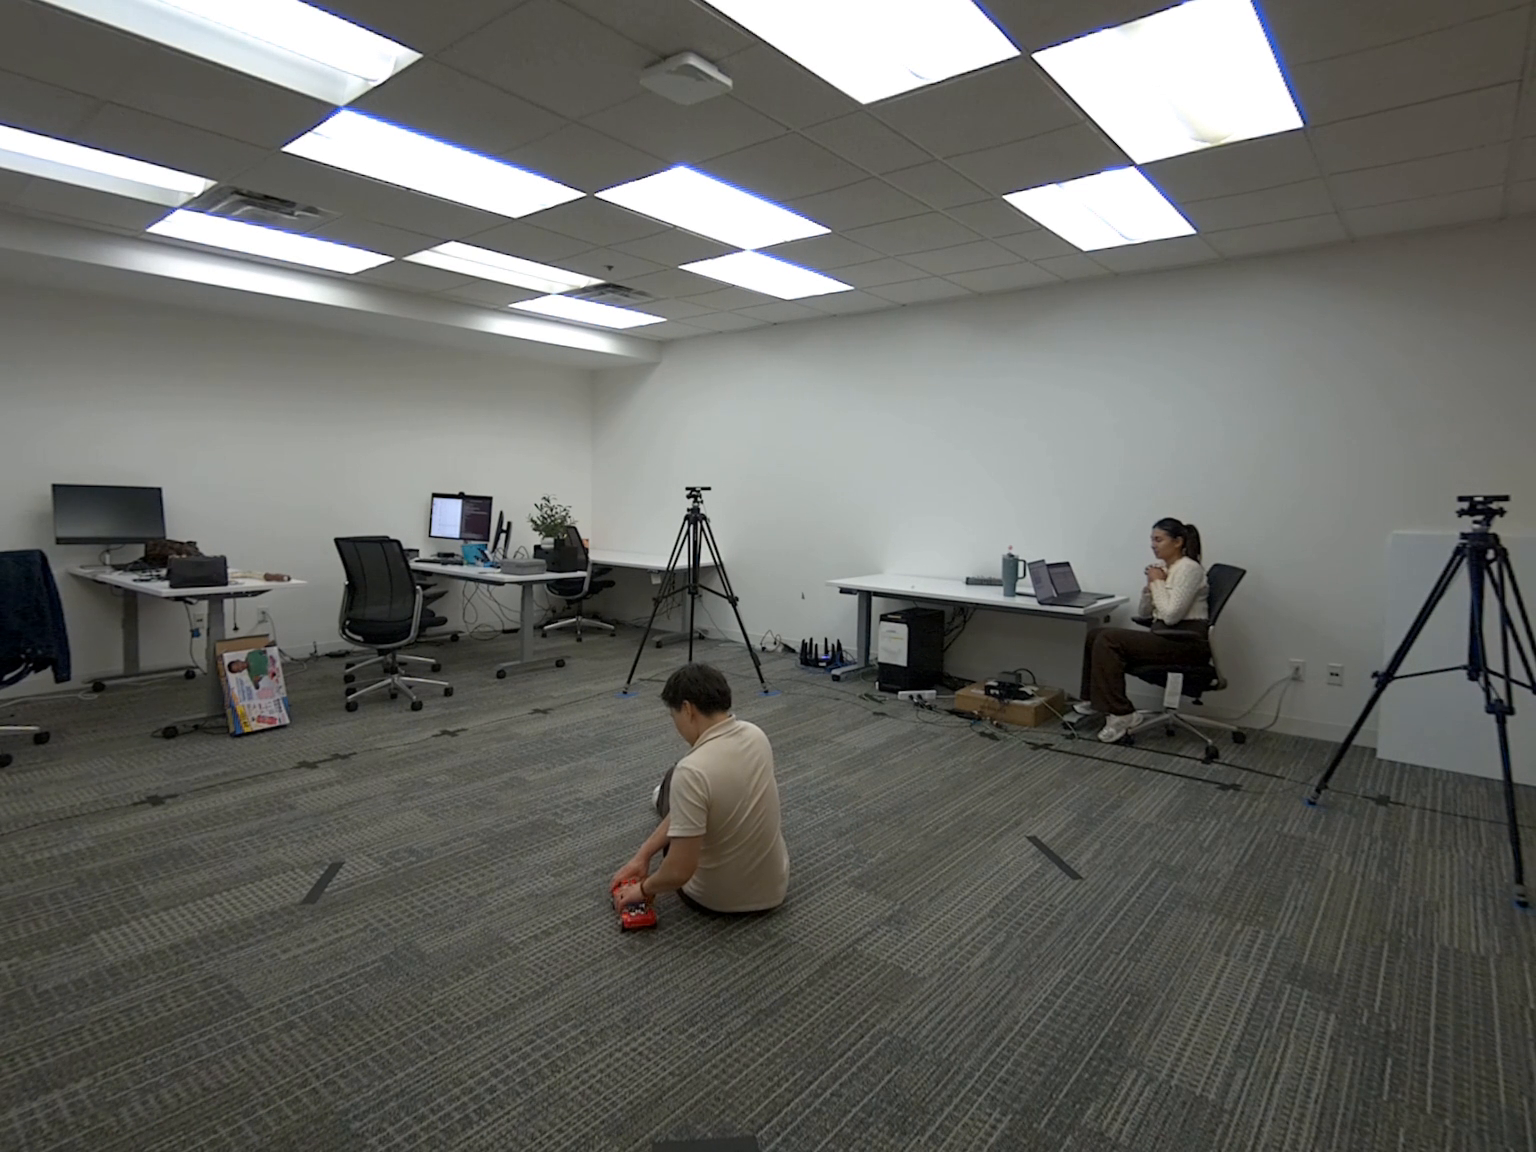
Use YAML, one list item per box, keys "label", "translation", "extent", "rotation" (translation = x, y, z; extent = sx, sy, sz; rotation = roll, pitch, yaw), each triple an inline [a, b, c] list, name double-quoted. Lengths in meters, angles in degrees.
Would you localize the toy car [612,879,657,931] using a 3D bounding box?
- label: "toy car"
  translation: [-0.448, 1.062, 2.765]
  extent: [0.128, 0.082, 0.262]
  rotation: [-2, 15, -18]
